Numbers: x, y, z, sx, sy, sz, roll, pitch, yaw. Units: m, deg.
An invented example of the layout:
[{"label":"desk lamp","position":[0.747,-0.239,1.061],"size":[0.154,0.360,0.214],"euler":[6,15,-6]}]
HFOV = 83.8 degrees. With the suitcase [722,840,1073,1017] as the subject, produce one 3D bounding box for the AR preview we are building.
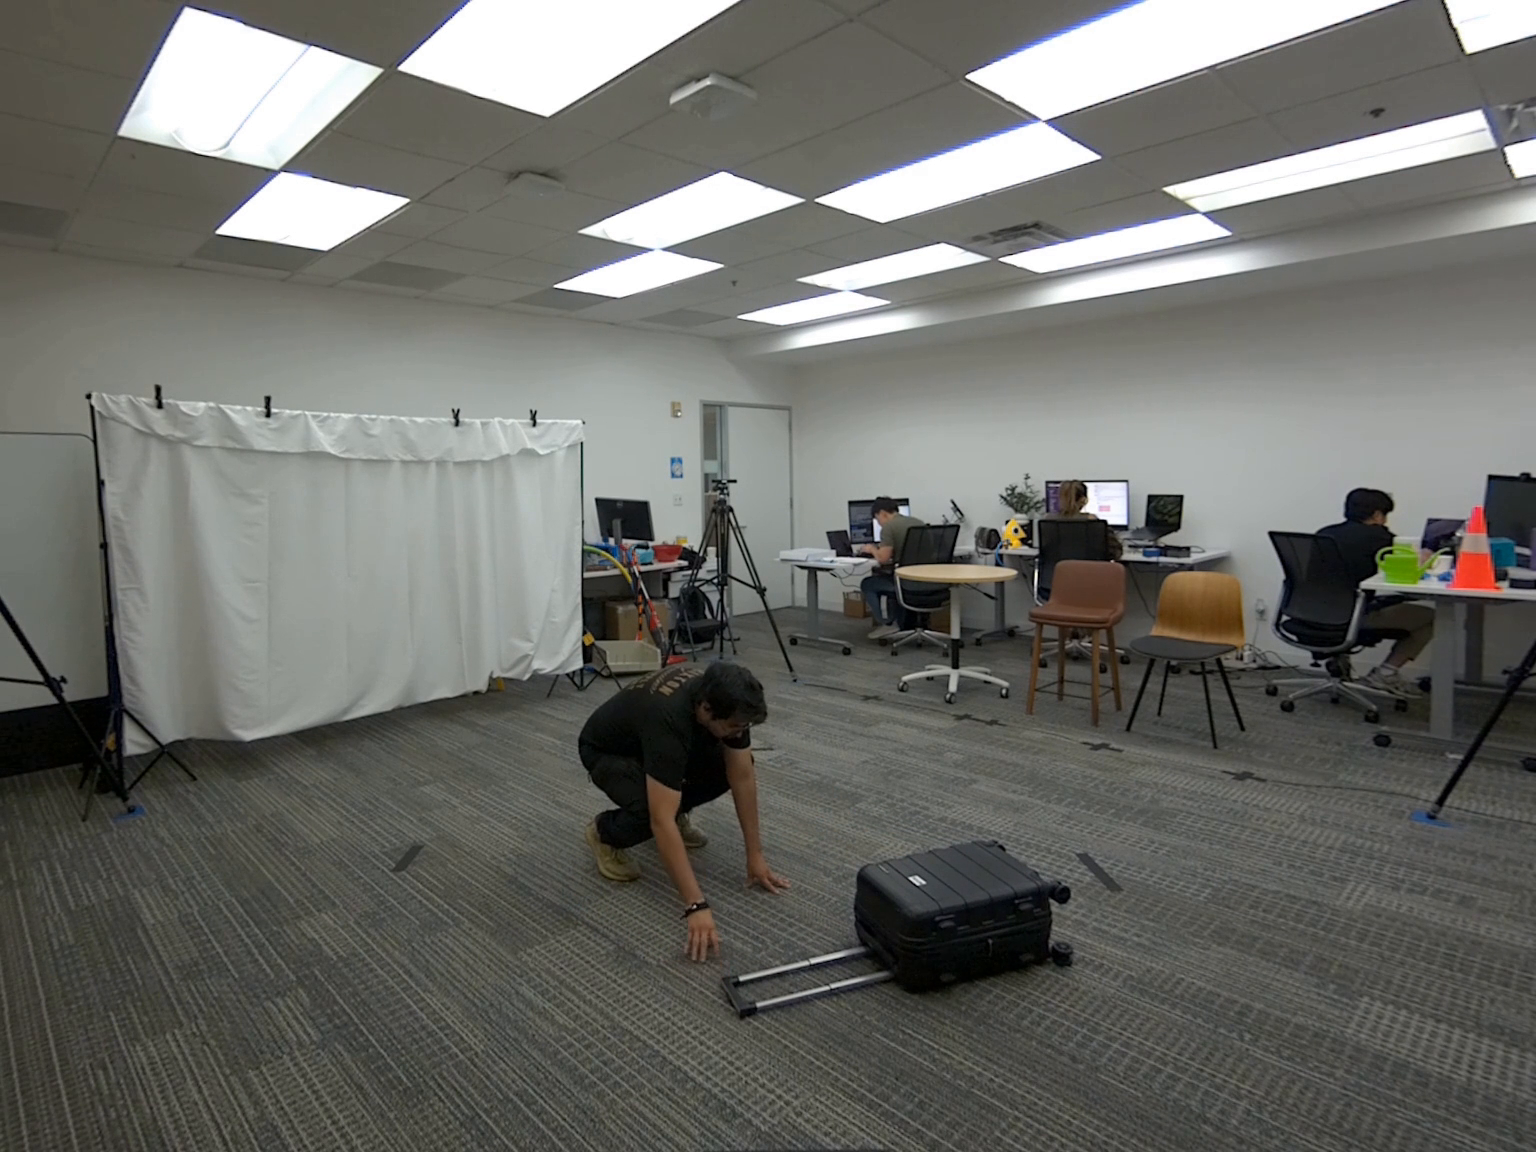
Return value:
[{"label":"suitcase","position":[0.362,0.990,2.442],"size":[0.961,0.256,0.393],"euler":[-2,7,-20]}]
